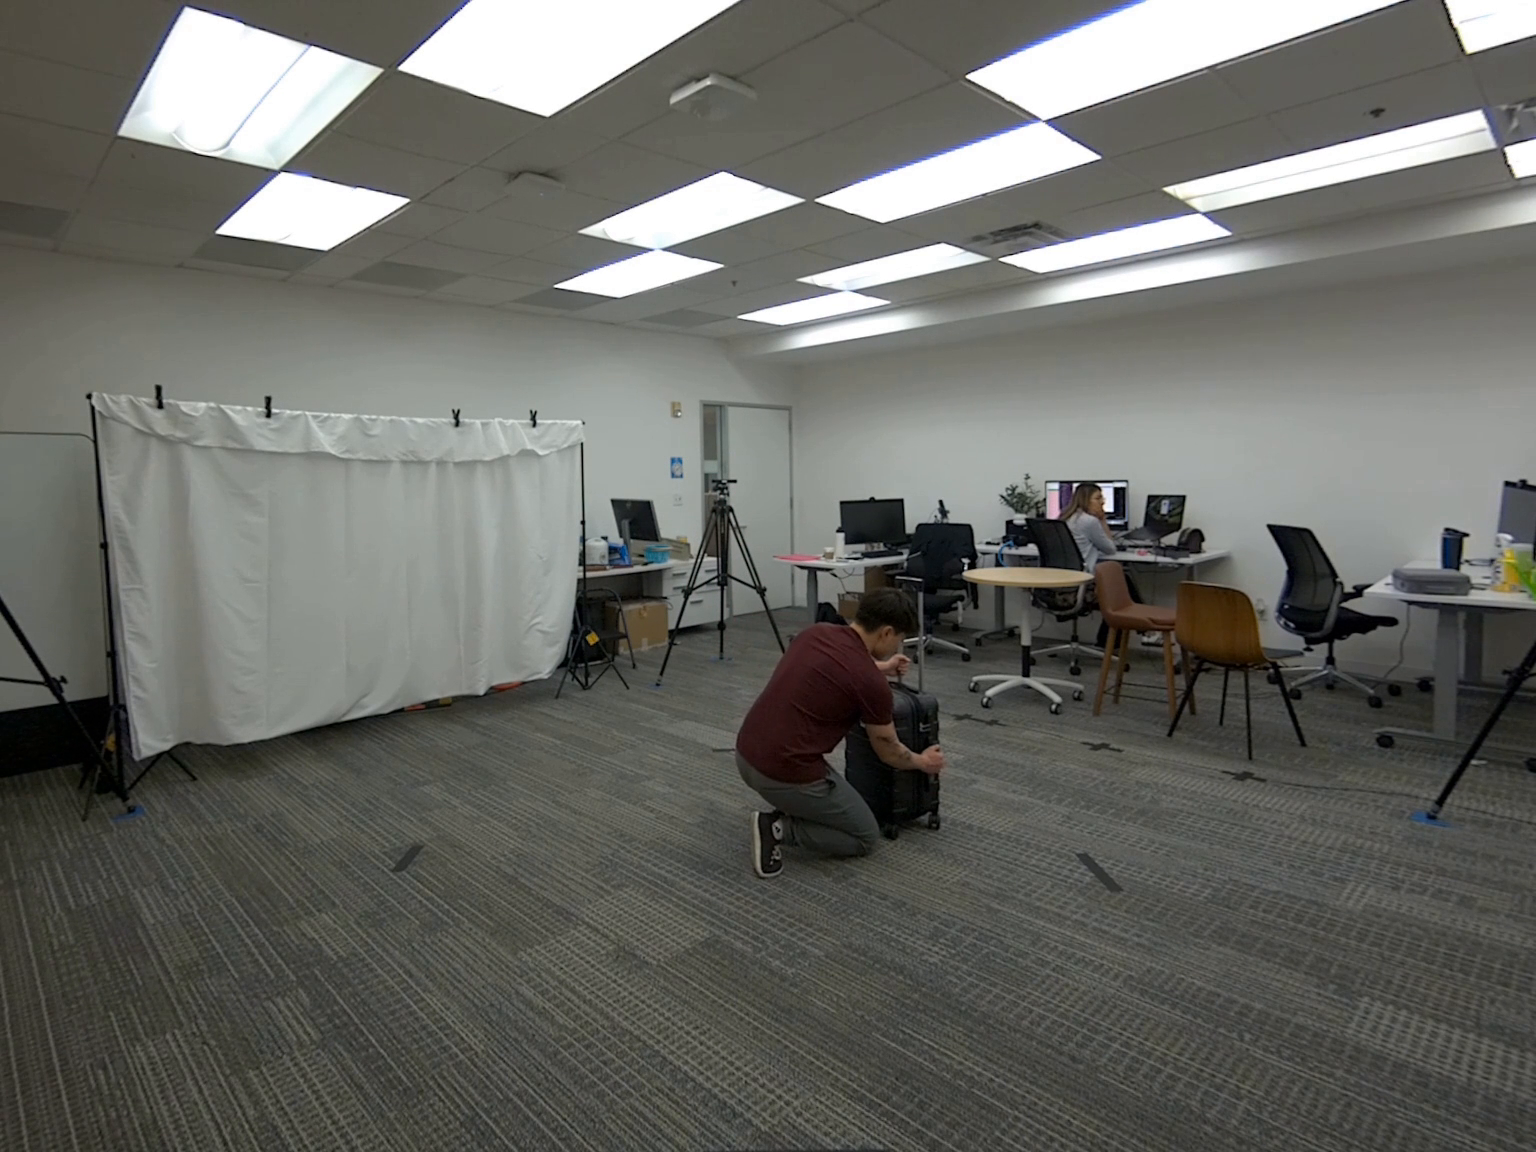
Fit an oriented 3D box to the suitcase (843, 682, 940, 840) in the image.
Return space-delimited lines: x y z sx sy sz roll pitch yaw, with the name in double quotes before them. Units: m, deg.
"suitcase" 0.496 0.511 3.479 0.251 0.977 0.393 -2 2 -28
